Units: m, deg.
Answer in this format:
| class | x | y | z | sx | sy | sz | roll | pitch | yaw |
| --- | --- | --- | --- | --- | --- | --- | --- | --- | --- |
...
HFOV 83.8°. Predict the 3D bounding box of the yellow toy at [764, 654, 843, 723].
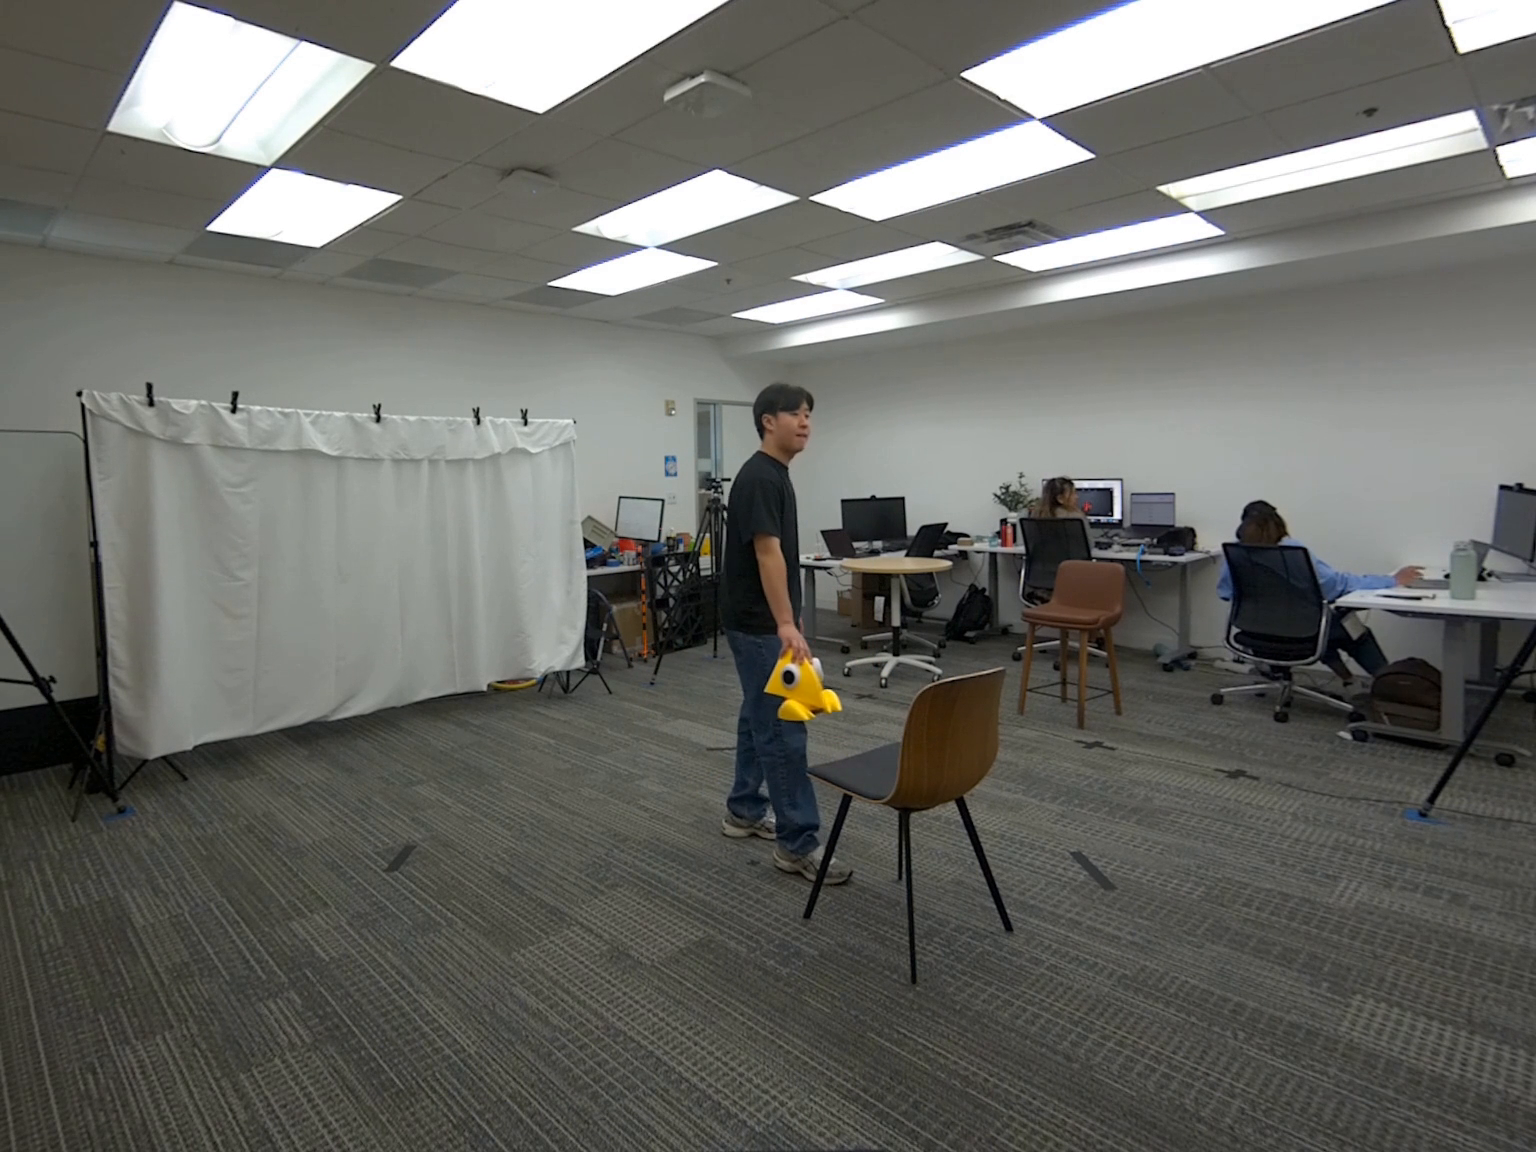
| class | x | y | z | sx | sy | sz | roll | pitch | yaw |
| --- | --- | --- | --- | --- | --- | --- | --- | --- | --- |
| yellow toy | 0.107 | 0.337 | 2.790 | 0.200 | 0.230 | 0.197 | -9 | 3 | -30 |
